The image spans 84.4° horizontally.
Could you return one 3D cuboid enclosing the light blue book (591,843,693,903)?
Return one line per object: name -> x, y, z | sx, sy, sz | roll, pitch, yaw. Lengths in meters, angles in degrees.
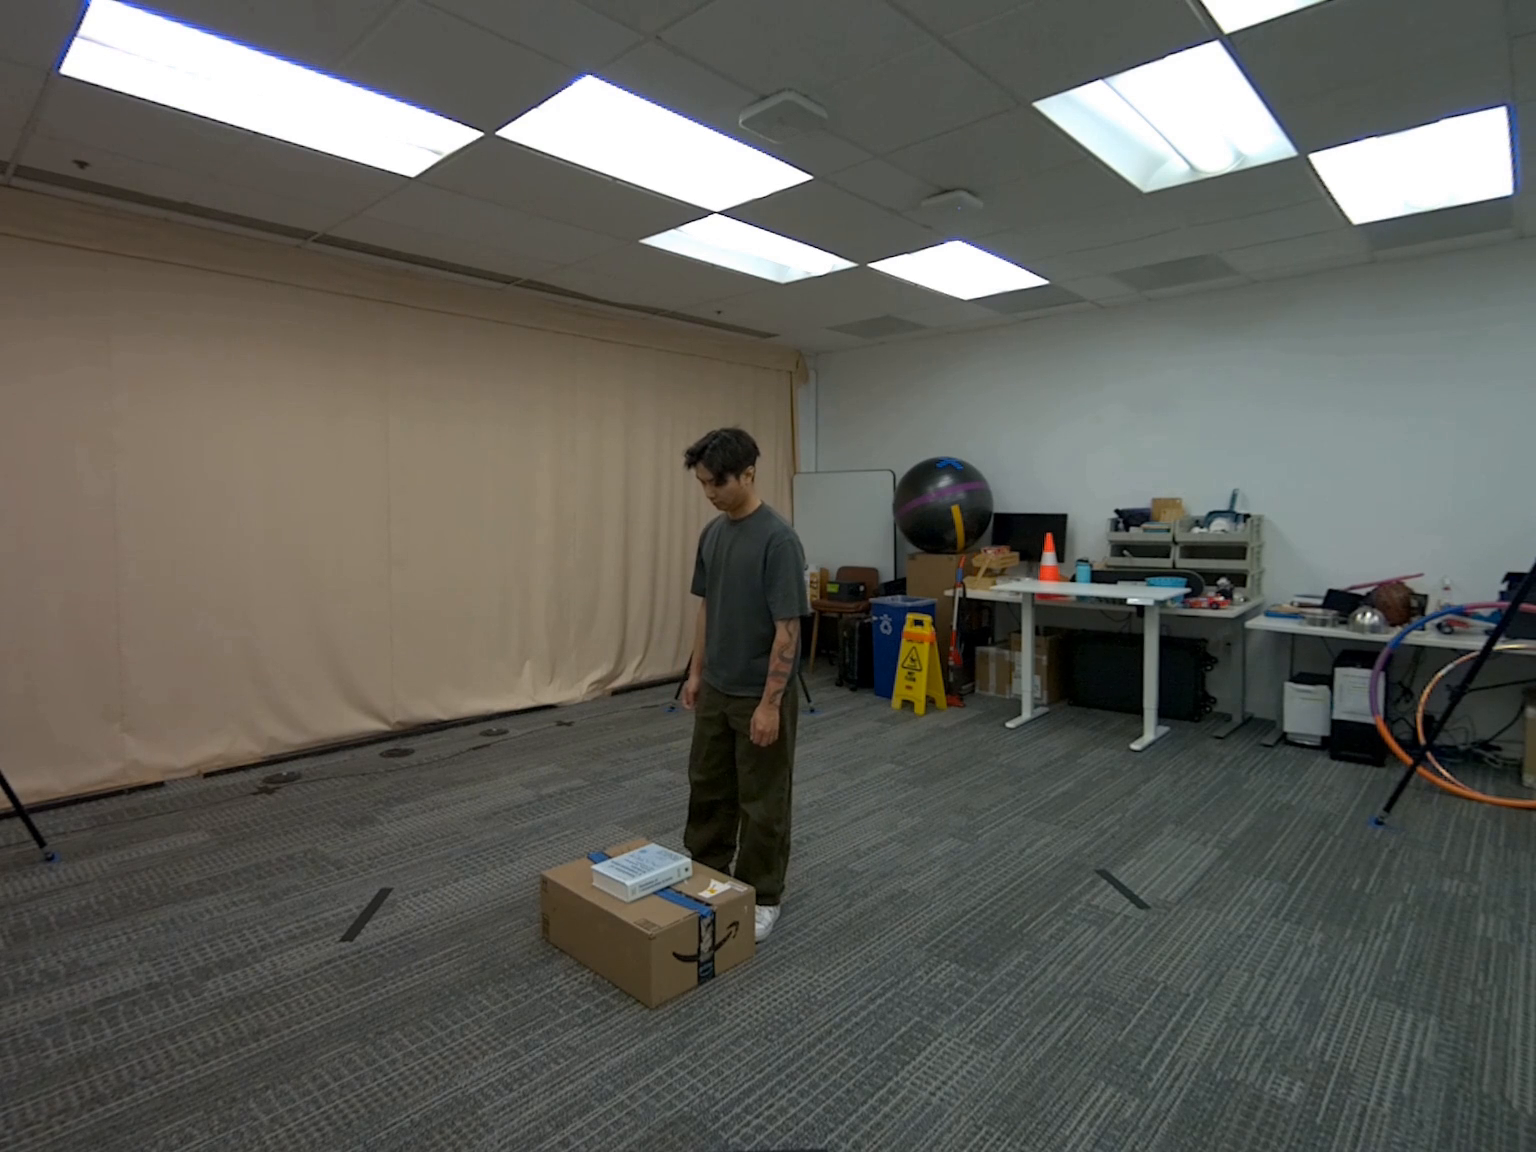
light blue book -> -0.400, 0.936, 2.665 | 0.198, 0.059, 0.253 | 3, 5, 43
